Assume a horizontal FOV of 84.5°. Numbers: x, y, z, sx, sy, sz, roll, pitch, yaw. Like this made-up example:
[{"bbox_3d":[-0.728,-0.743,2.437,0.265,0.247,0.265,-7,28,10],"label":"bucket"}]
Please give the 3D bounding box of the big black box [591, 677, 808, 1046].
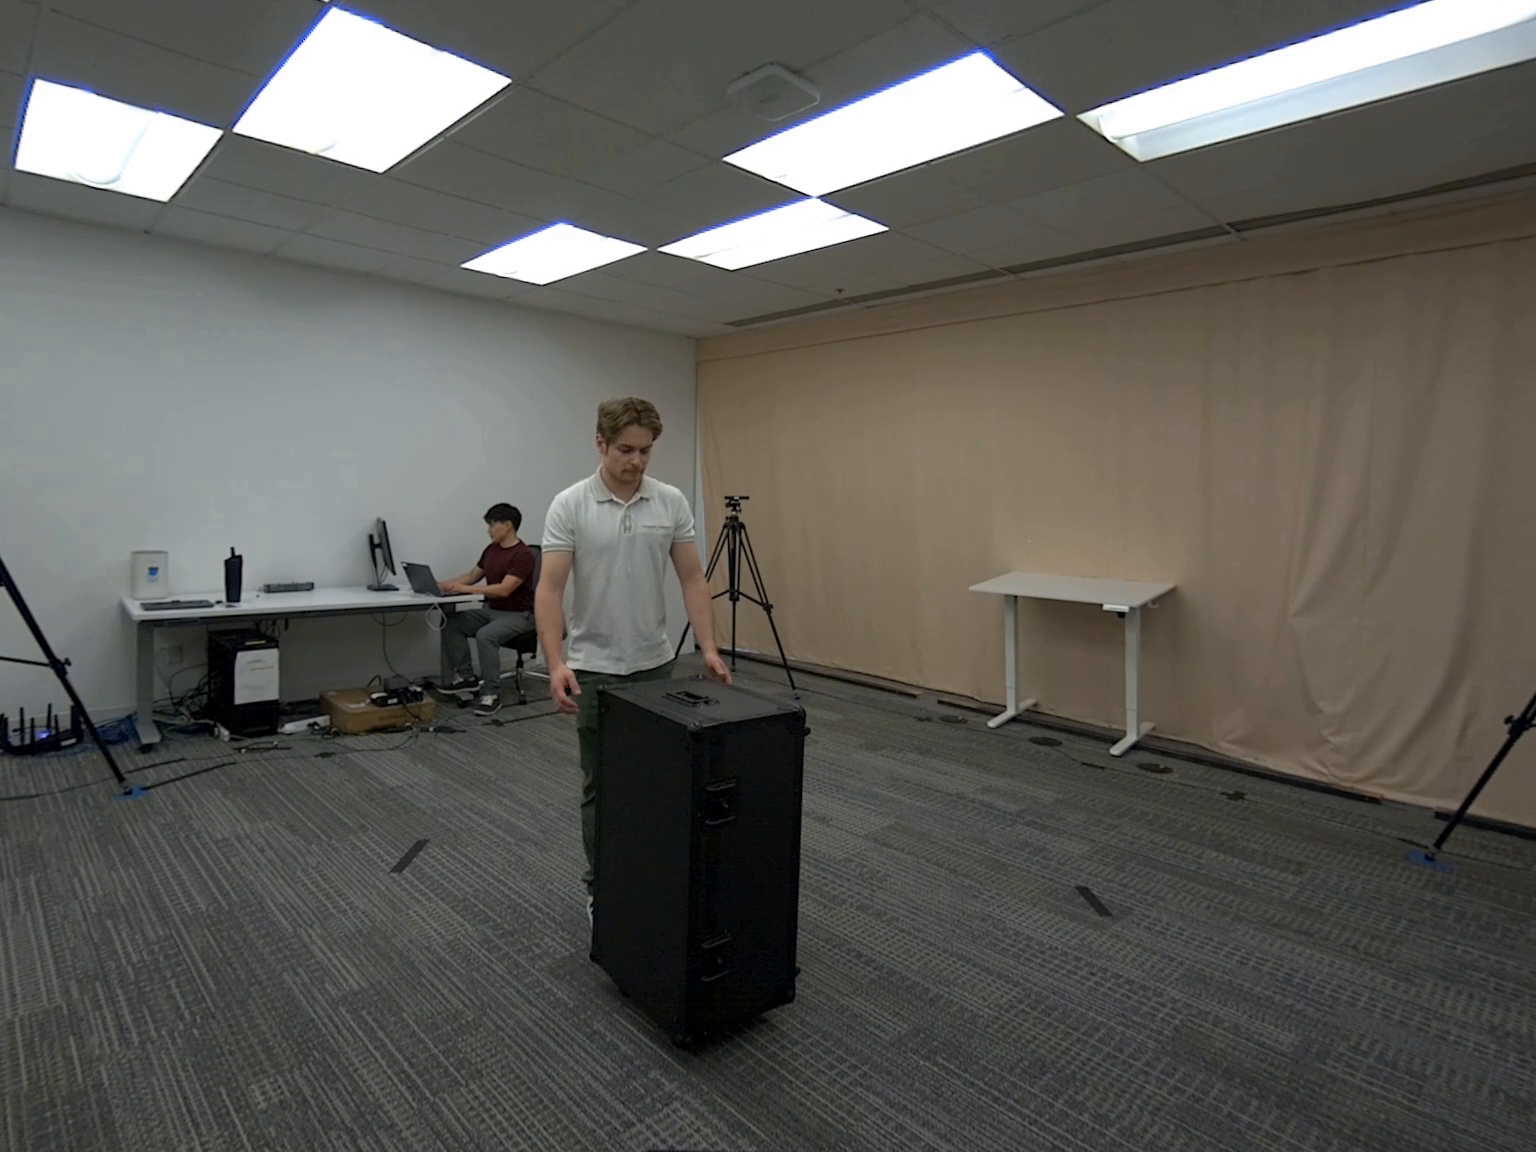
[{"bbox_3d":[-0.210,0.759,2.290,0.376,0.866,0.537,0,4,-39],"label":"big black box"}]
